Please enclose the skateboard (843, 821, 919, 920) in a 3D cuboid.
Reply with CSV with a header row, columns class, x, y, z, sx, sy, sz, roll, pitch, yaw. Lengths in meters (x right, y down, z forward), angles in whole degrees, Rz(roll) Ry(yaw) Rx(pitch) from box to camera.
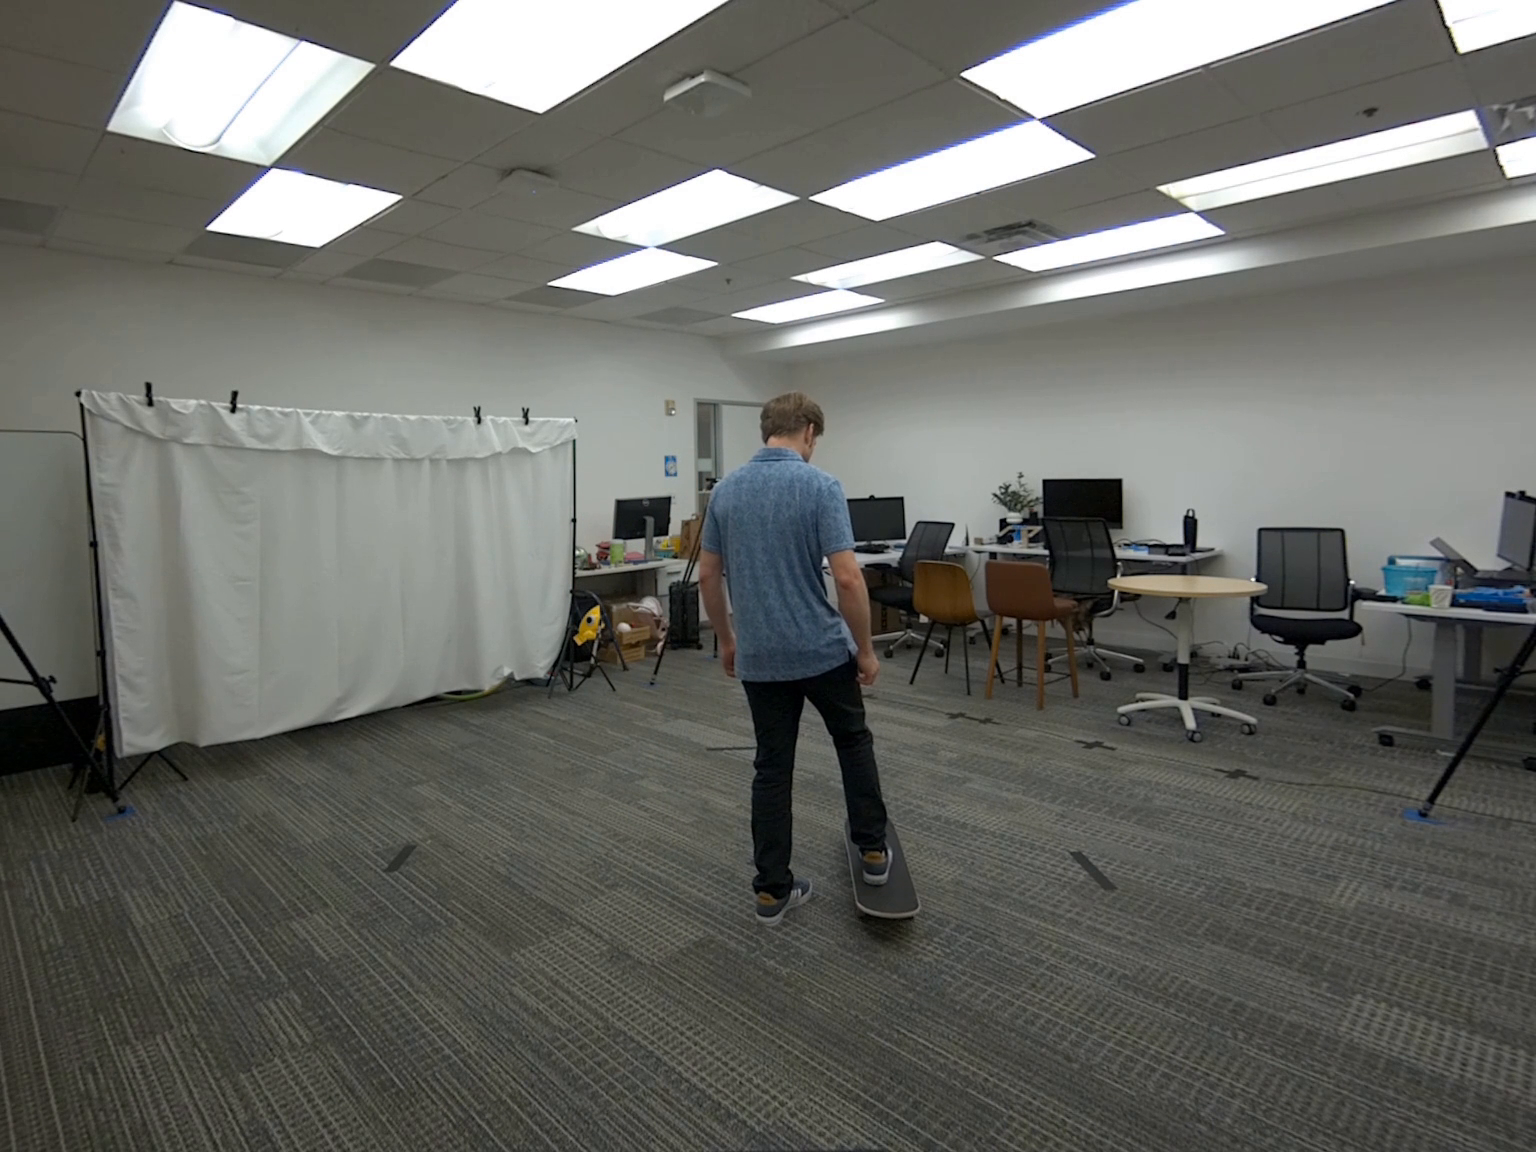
class,x,y,z,sx,sy,sz,roll,pitch,yaw
skateboard,0.375,0.998,2.905,0.194,0.110,0.786,-2,6,2
